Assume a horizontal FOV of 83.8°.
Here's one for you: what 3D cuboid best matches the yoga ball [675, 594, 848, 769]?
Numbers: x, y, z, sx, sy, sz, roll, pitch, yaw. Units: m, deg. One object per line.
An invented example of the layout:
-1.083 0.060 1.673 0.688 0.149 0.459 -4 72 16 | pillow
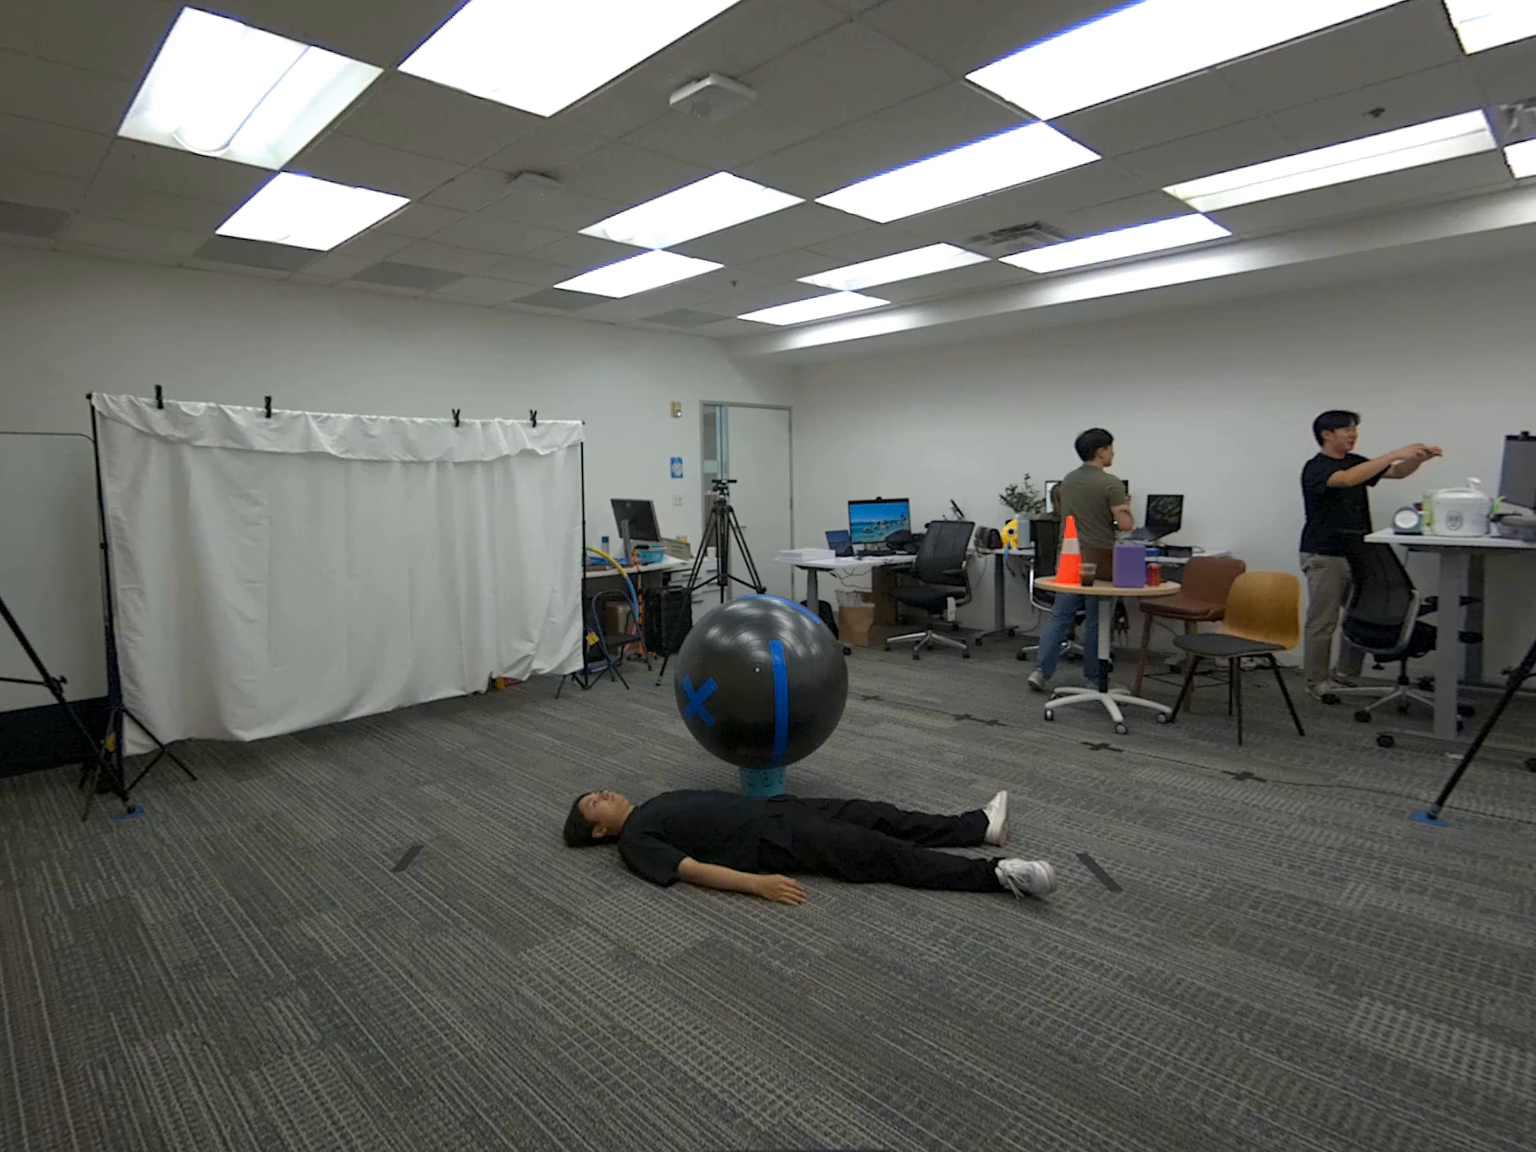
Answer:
-0.025 0.464 3.758 0.757 0.755 0.762 -1 5 -2 | yoga ball
